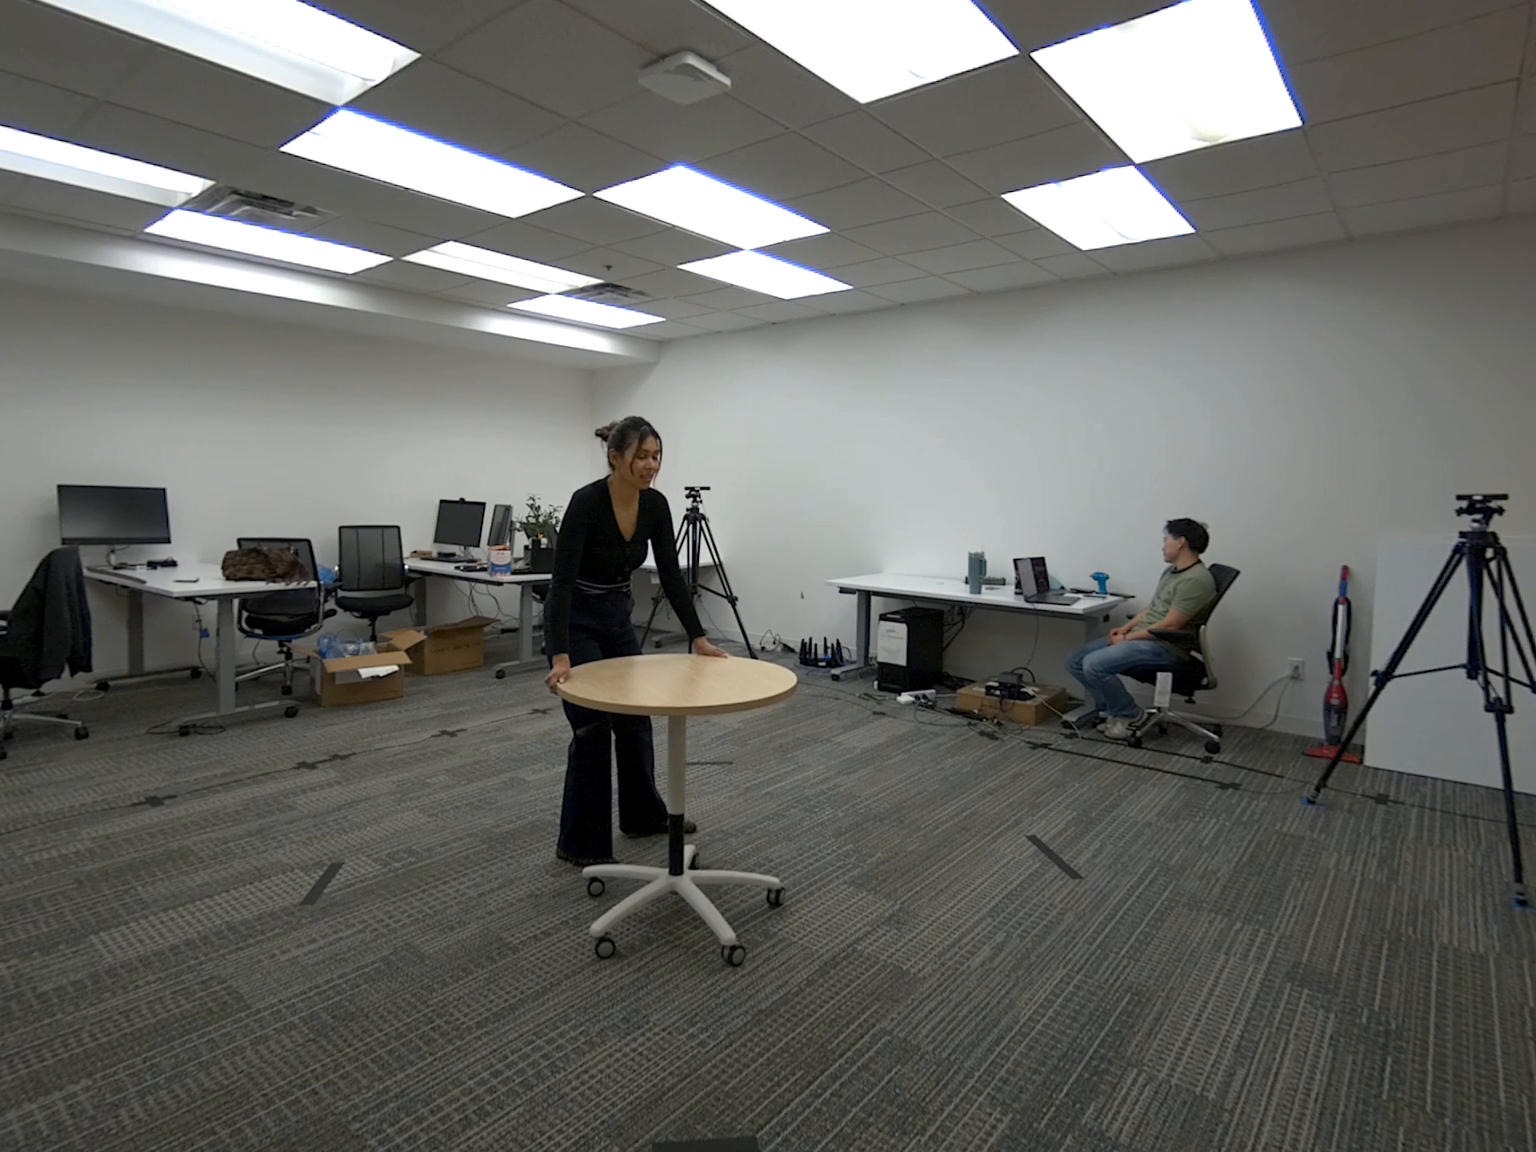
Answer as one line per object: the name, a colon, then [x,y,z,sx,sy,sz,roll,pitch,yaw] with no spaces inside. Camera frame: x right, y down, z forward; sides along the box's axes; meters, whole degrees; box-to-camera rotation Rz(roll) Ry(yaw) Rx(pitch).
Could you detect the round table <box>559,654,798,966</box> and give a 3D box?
round table: [-0.297,0.710,2.752,0.763,0.791,0.768,0,4,-2]
